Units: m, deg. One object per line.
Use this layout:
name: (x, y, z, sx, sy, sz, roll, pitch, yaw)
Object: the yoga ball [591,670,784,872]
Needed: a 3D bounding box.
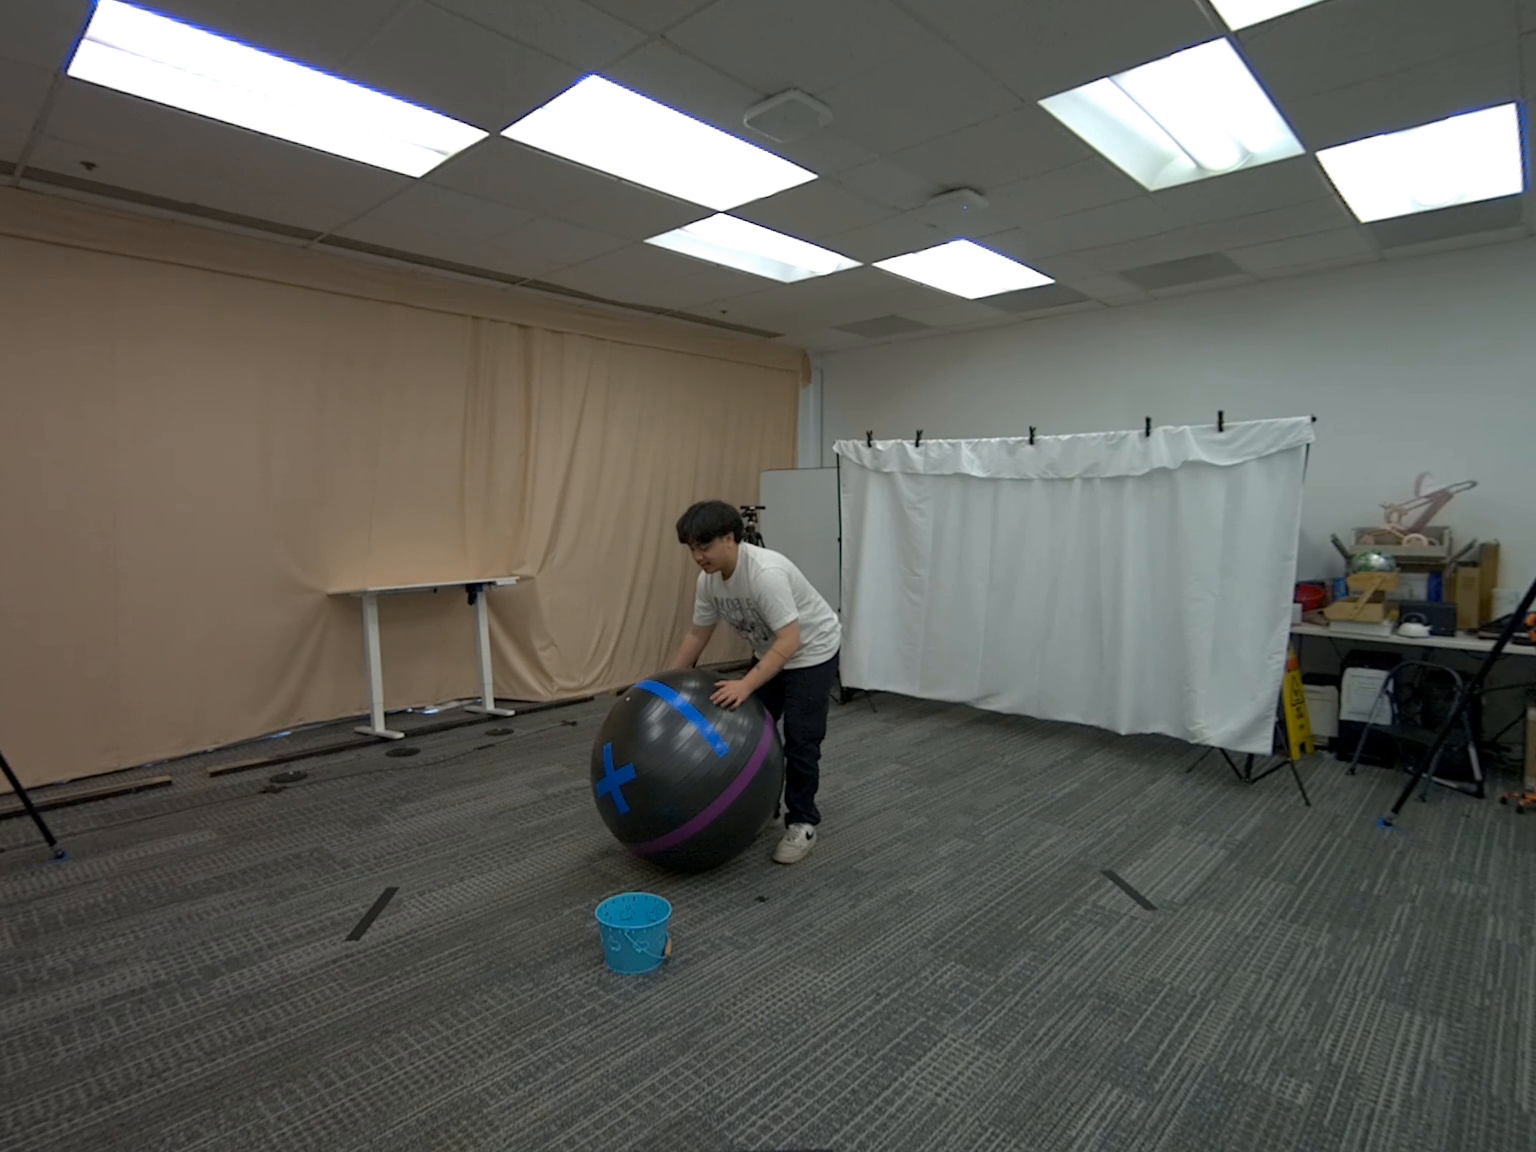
yoga ball: (-0.318, 0.751, 3.303, 0.757, 0.756, 0.760, 0, 4, -2)
